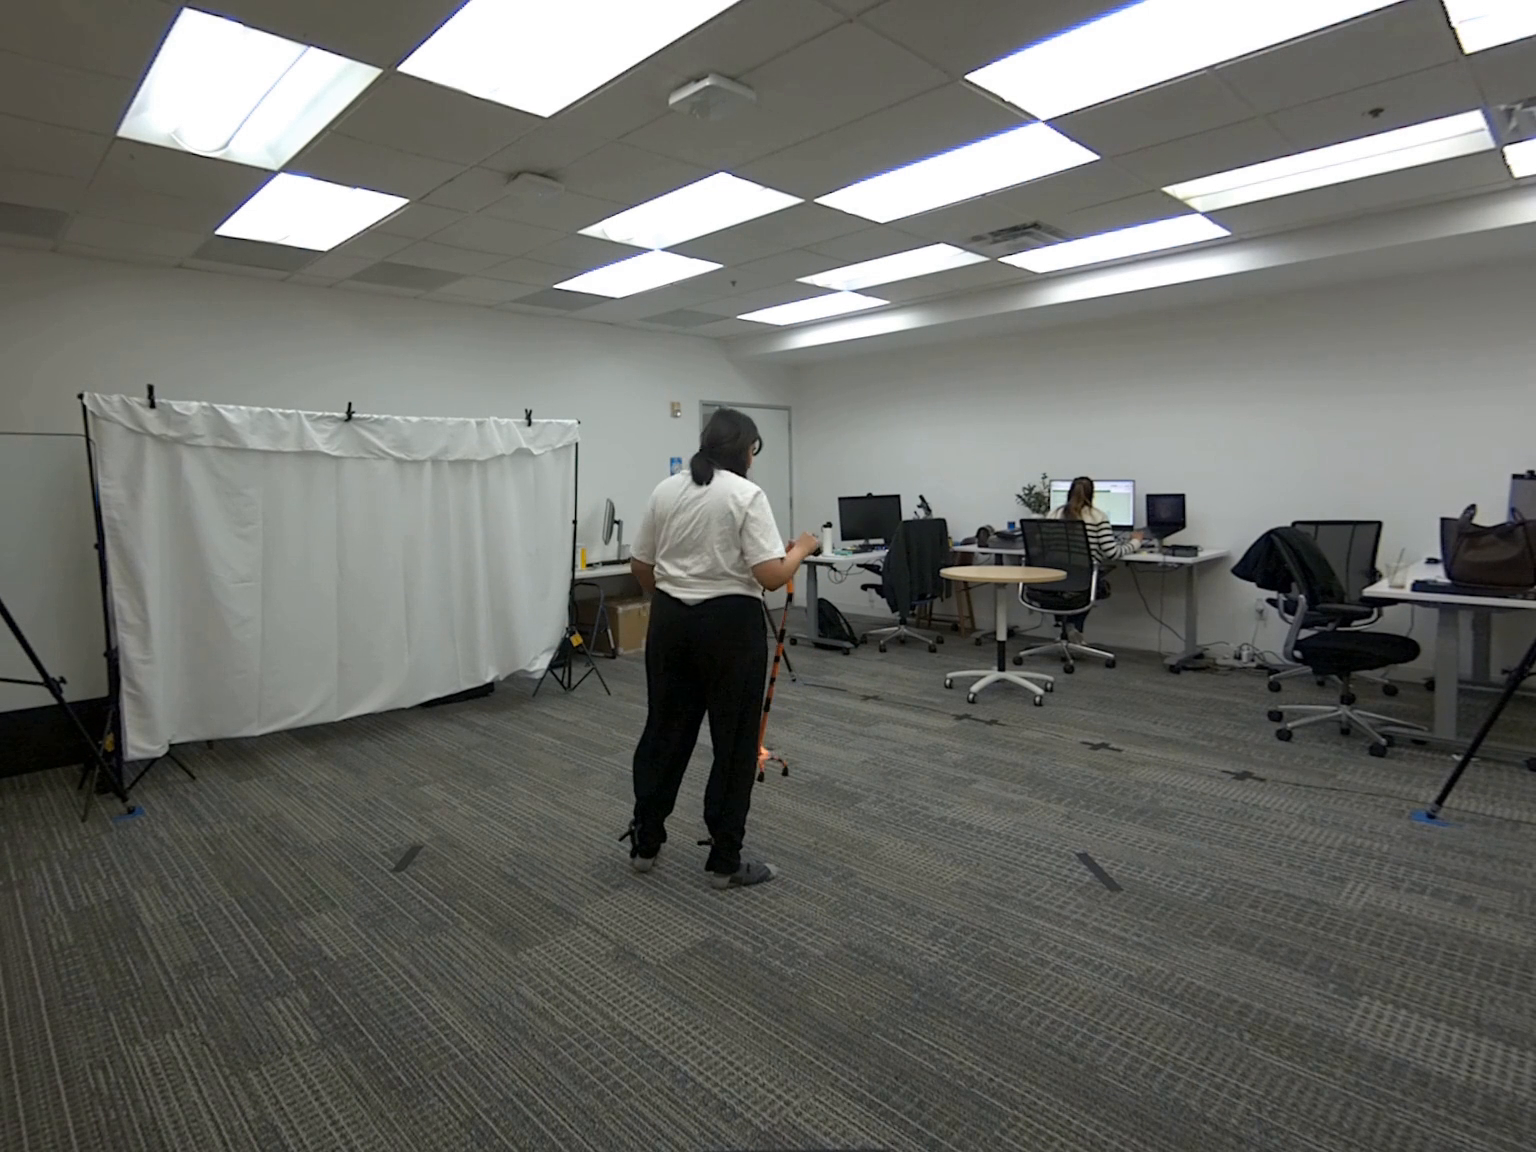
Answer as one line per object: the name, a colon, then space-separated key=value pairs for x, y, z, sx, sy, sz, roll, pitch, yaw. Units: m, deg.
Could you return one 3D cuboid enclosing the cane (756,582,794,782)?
cane: x=0.046 y=0.313 z=3.190 sx=0.147 sy=0.900 sz=0.214 roll=2 pitch=14 yaw=-36
